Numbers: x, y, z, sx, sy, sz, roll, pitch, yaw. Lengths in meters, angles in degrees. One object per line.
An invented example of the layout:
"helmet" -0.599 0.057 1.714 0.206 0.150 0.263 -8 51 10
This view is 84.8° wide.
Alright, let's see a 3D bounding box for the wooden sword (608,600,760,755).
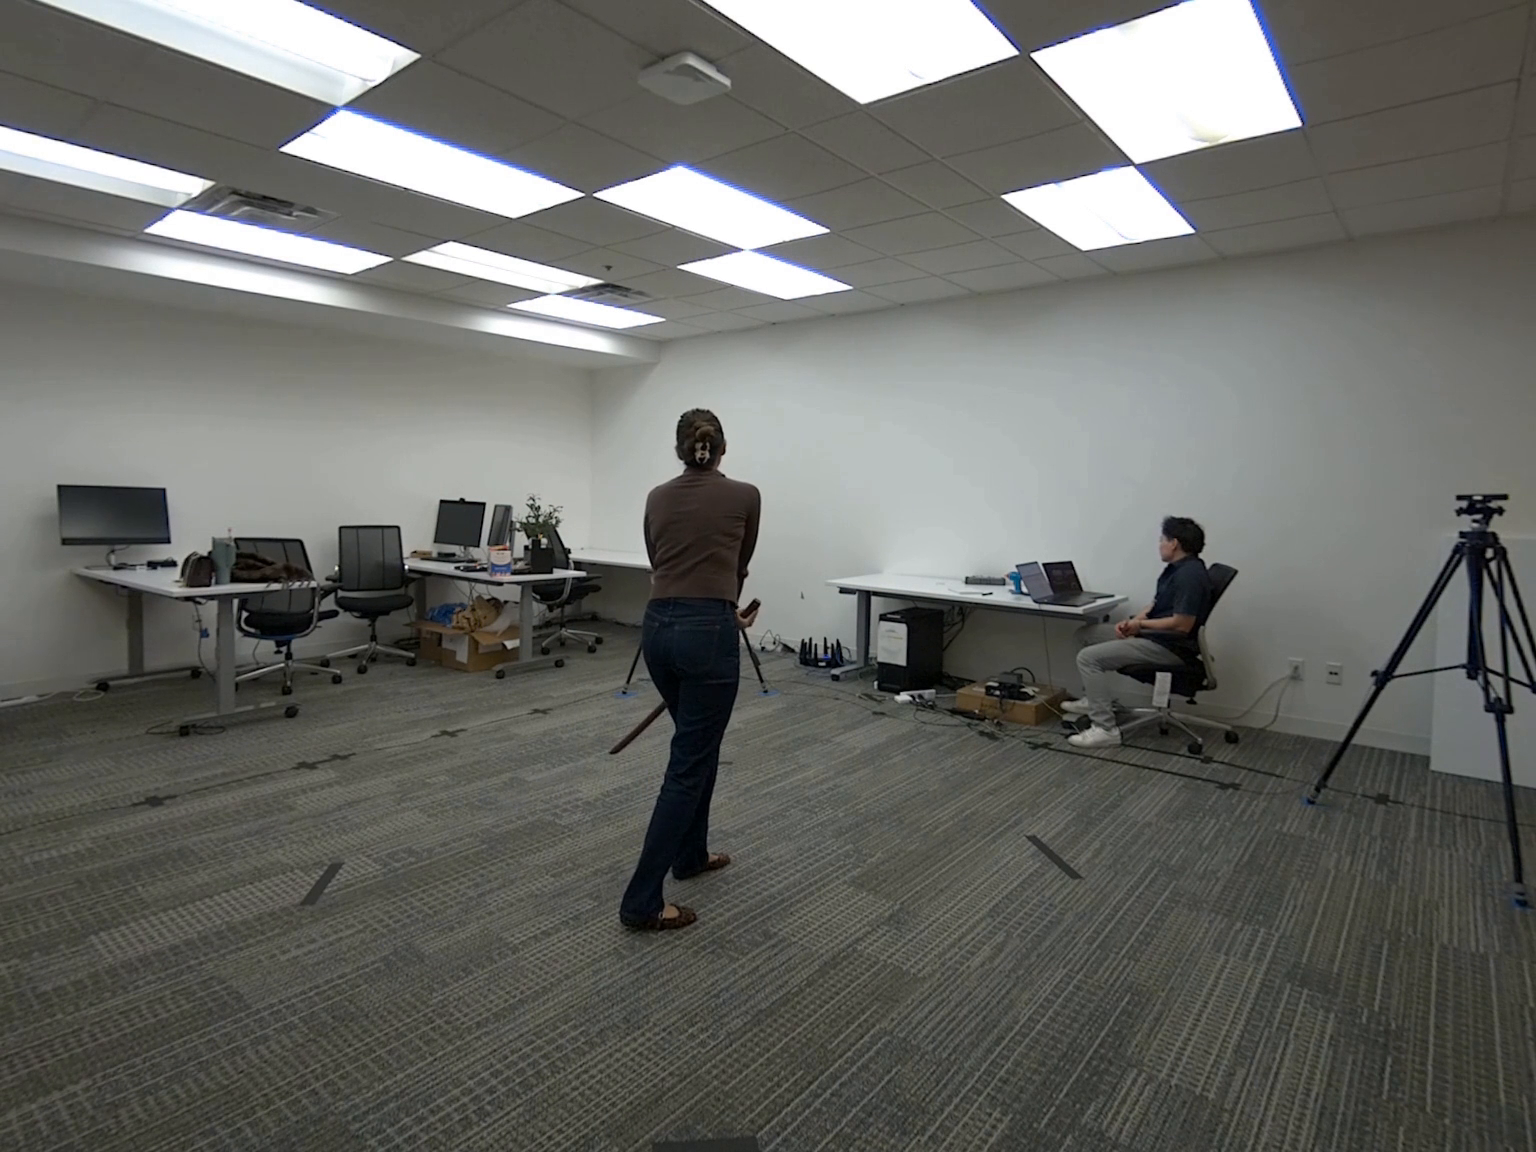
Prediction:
"wooden sword" -0.376 0.439 3.388 0.024 1.025 0.052 39 25 -10
